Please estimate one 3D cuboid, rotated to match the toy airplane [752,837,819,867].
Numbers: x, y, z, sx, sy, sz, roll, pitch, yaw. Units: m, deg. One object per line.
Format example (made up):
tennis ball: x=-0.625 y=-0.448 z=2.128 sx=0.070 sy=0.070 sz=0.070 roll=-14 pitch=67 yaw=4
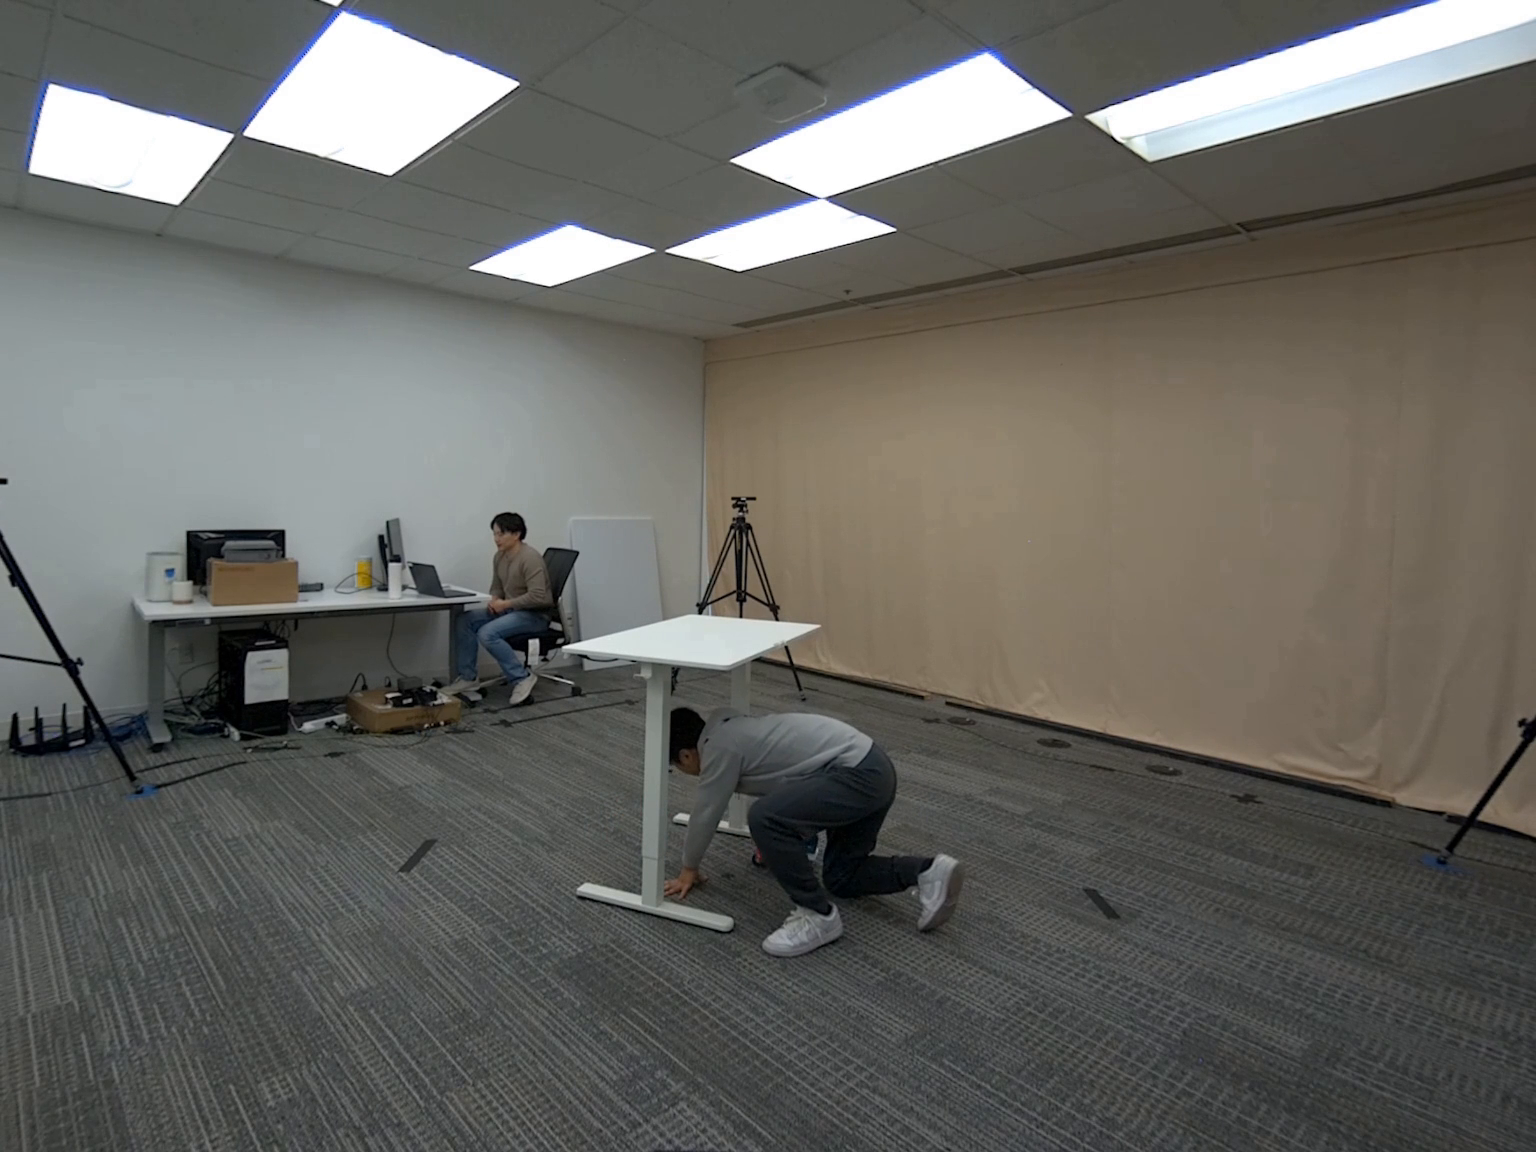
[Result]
toy airplane: x=0.048 y=1.031 z=3.238 sx=0.256 sy=0.156 sz=0.255 roll=0 pitch=6 yaw=-17
